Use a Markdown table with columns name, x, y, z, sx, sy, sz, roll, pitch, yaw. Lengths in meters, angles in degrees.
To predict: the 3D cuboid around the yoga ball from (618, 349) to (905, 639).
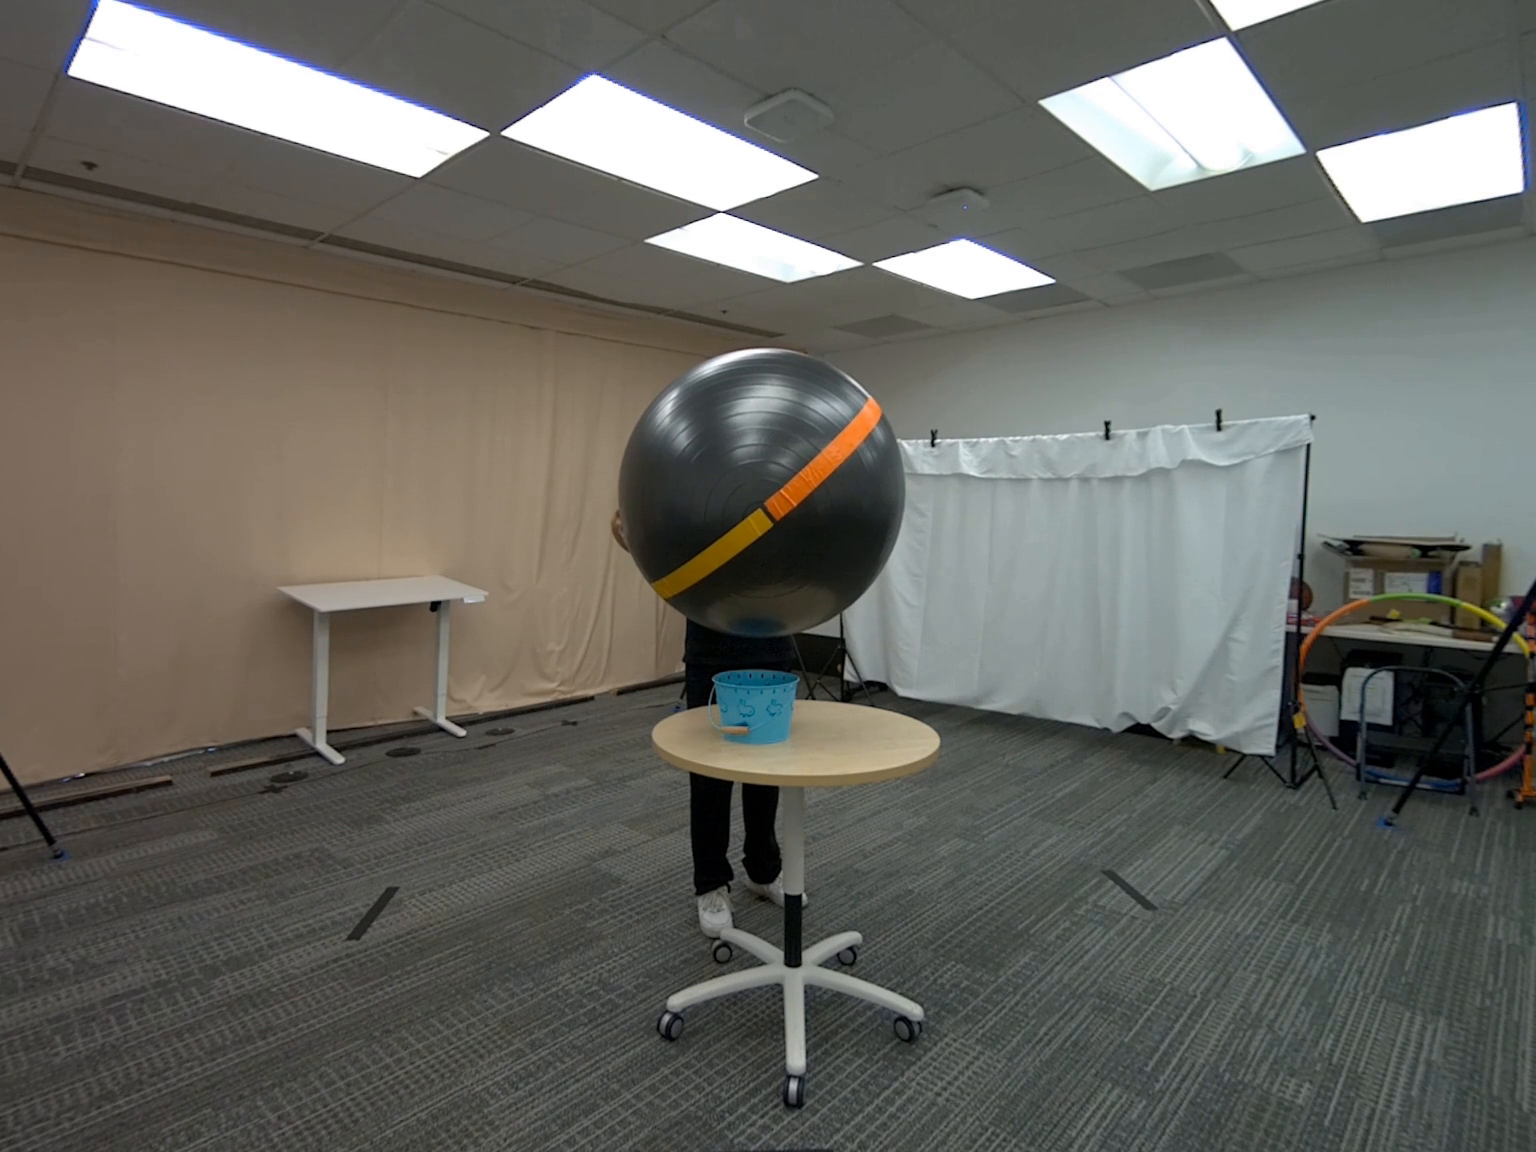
| name | x | y | z | sx | sy | sz | roll | pitch | yaw |
| --- | --- | --- | --- | --- | --- | --- | --- | --- | --- |
| yoga ball | -0.018 | -0.211 | 2.242 | 0.757 | 0.756 | 0.760 | 0 | 4 | -2 |
